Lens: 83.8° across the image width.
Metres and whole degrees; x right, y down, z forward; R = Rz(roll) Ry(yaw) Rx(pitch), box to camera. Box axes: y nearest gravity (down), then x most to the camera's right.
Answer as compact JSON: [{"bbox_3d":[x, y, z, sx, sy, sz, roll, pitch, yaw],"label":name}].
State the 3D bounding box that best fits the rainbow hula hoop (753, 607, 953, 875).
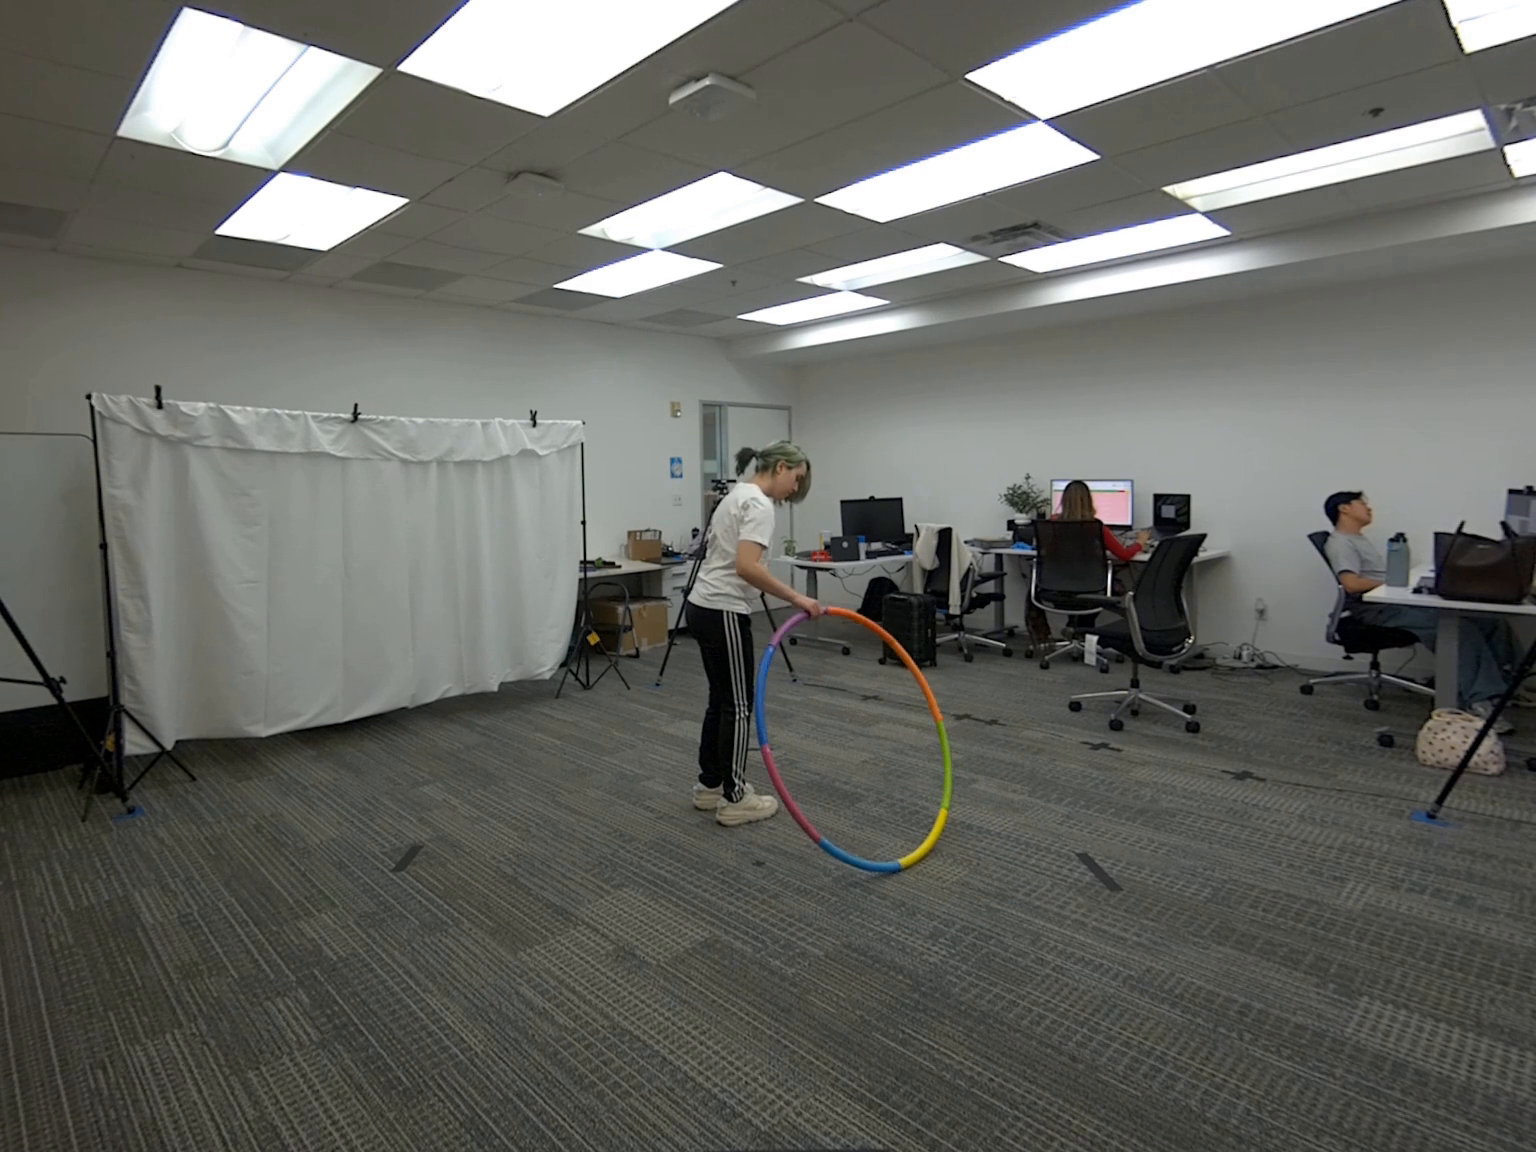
[{"bbox_3d":[0.342,0.583,3.212,0.953,0.998,0.036,-5,-23,-42],"label":"rainbow hula hoop"}]
